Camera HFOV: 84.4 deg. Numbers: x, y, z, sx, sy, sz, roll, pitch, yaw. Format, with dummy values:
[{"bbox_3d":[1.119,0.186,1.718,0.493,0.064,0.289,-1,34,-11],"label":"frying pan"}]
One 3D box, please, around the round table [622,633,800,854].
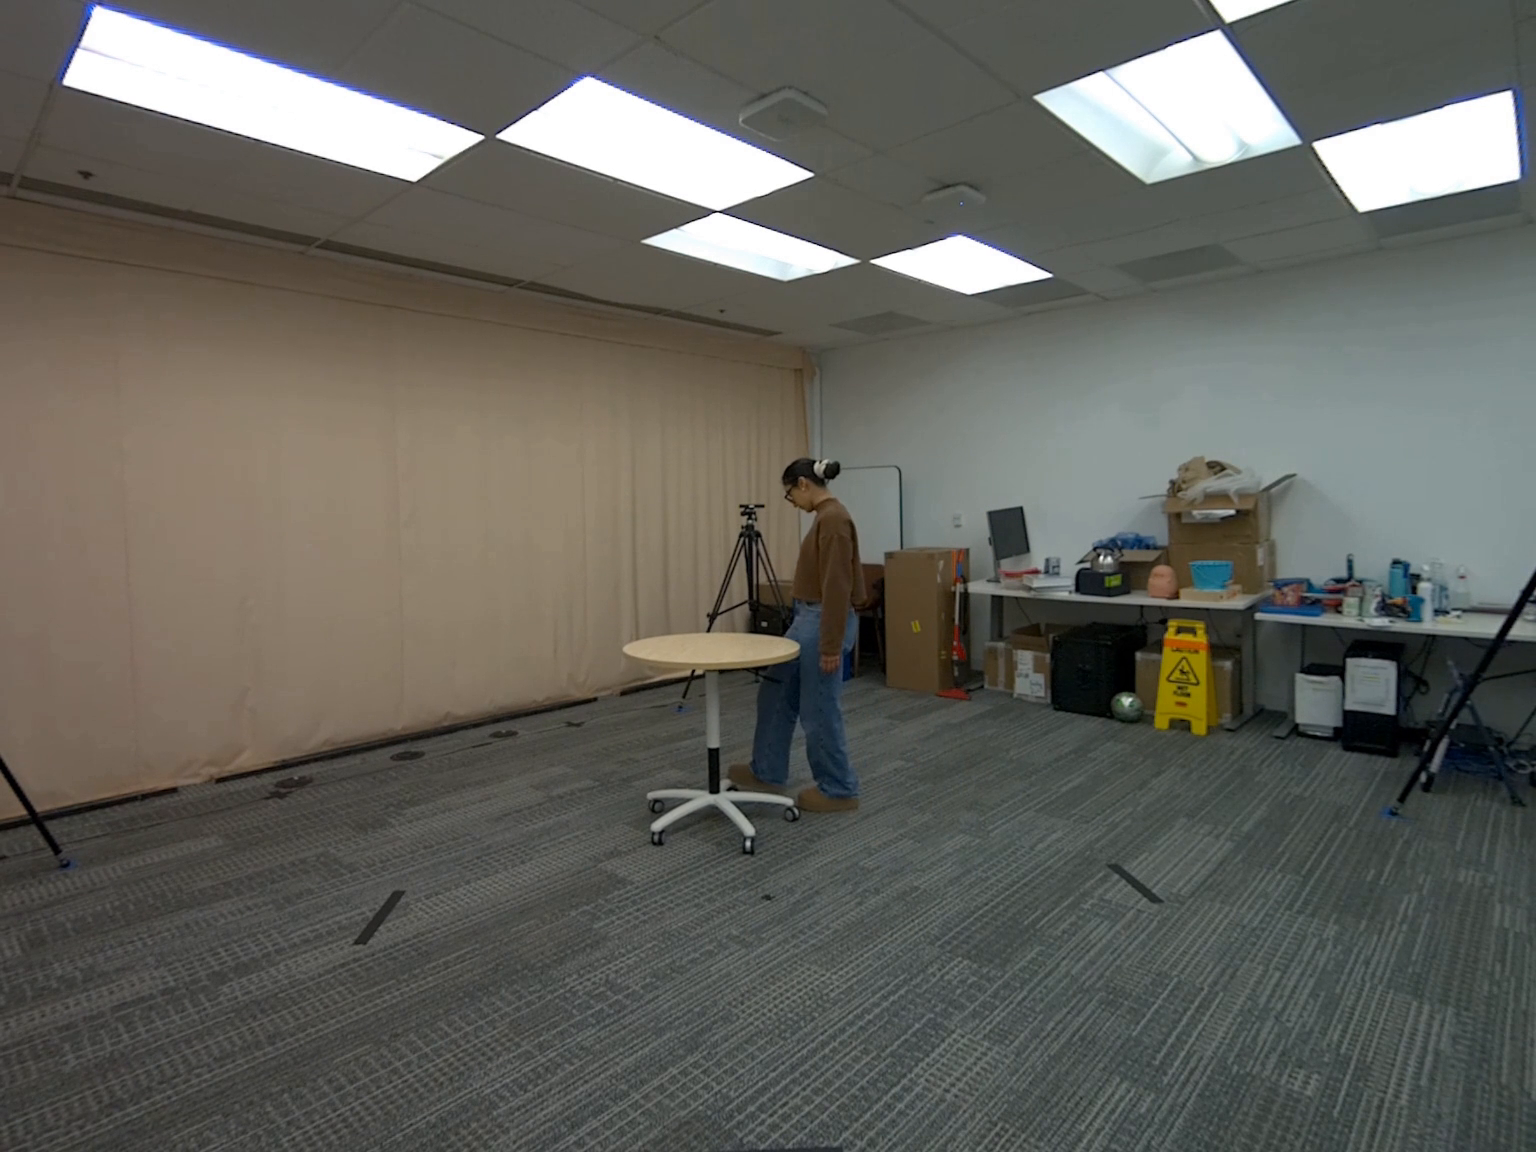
[{"bbox_3d":[-0.238,0.698,3.659,0.763,0.792,0.767,-1,4,-2],"label":"round table"}]
